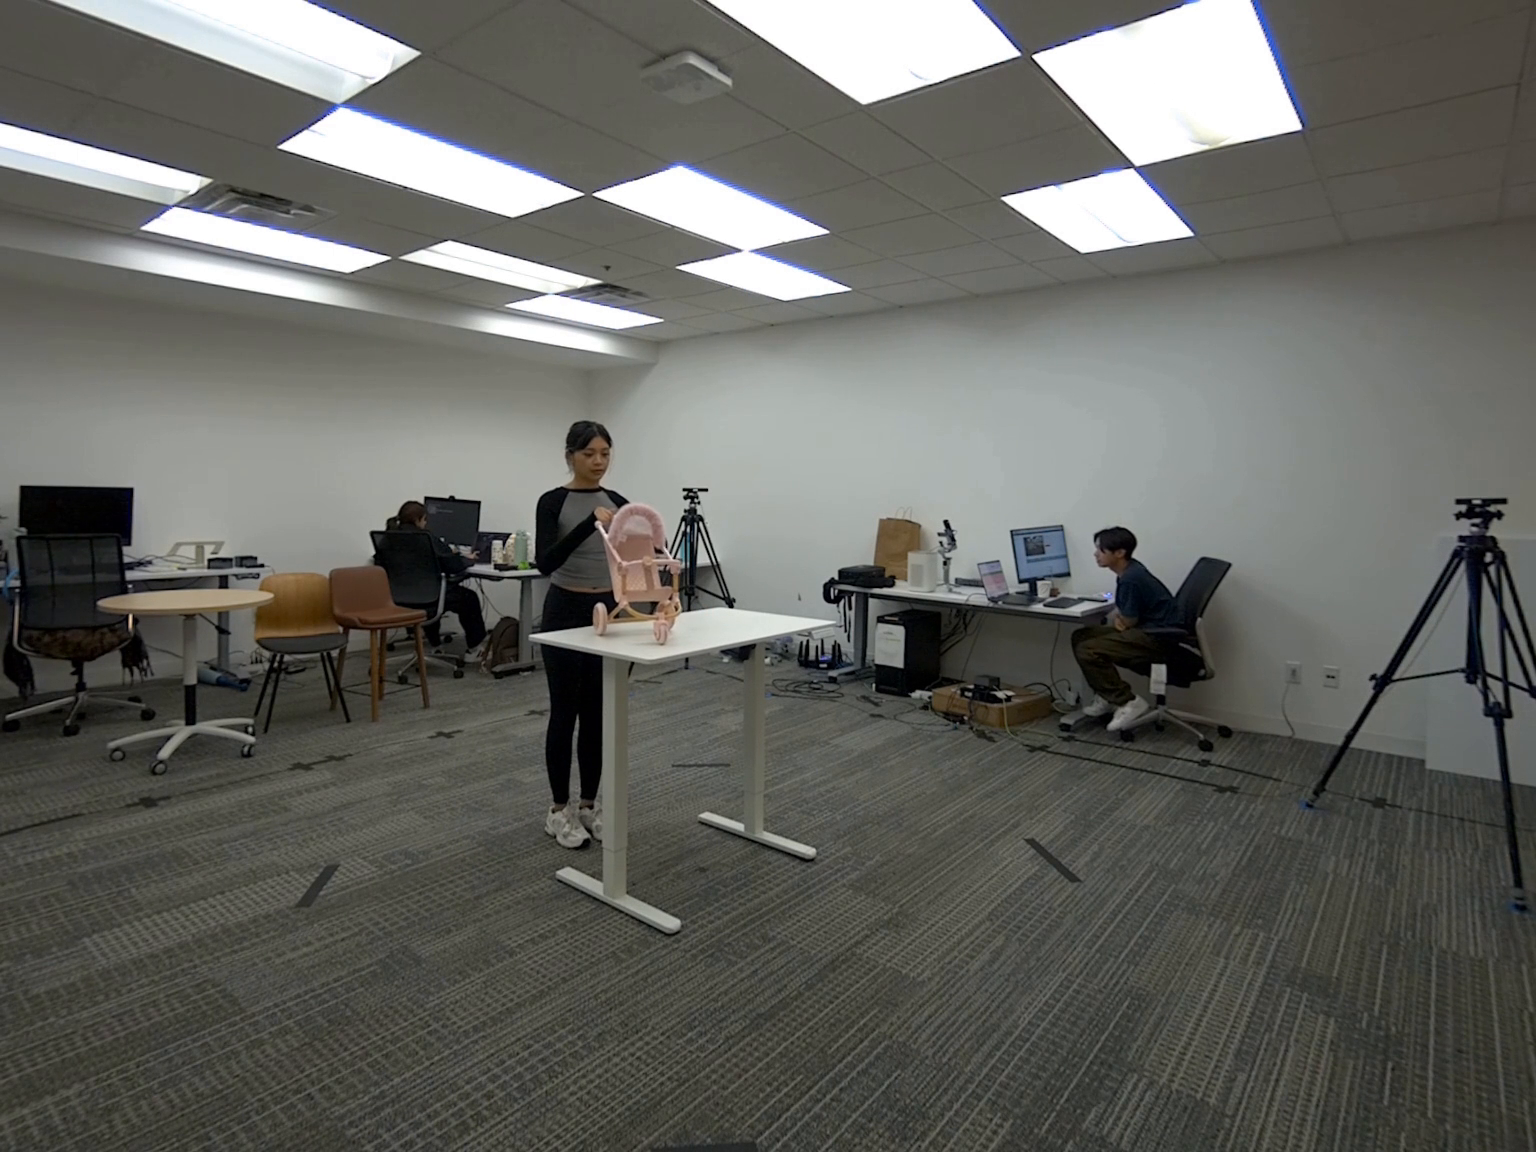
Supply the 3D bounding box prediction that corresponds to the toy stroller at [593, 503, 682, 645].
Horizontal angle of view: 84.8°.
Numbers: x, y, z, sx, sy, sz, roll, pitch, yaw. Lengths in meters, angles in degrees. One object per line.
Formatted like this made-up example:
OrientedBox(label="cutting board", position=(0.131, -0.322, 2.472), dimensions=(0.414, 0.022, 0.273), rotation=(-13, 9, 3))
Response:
OrientedBox(label="toy stroller", position=(-0.450, -0.019, 2.922), dimensions=(0.275, 0.542, 0.345), rotation=(-2, -13, -26))
